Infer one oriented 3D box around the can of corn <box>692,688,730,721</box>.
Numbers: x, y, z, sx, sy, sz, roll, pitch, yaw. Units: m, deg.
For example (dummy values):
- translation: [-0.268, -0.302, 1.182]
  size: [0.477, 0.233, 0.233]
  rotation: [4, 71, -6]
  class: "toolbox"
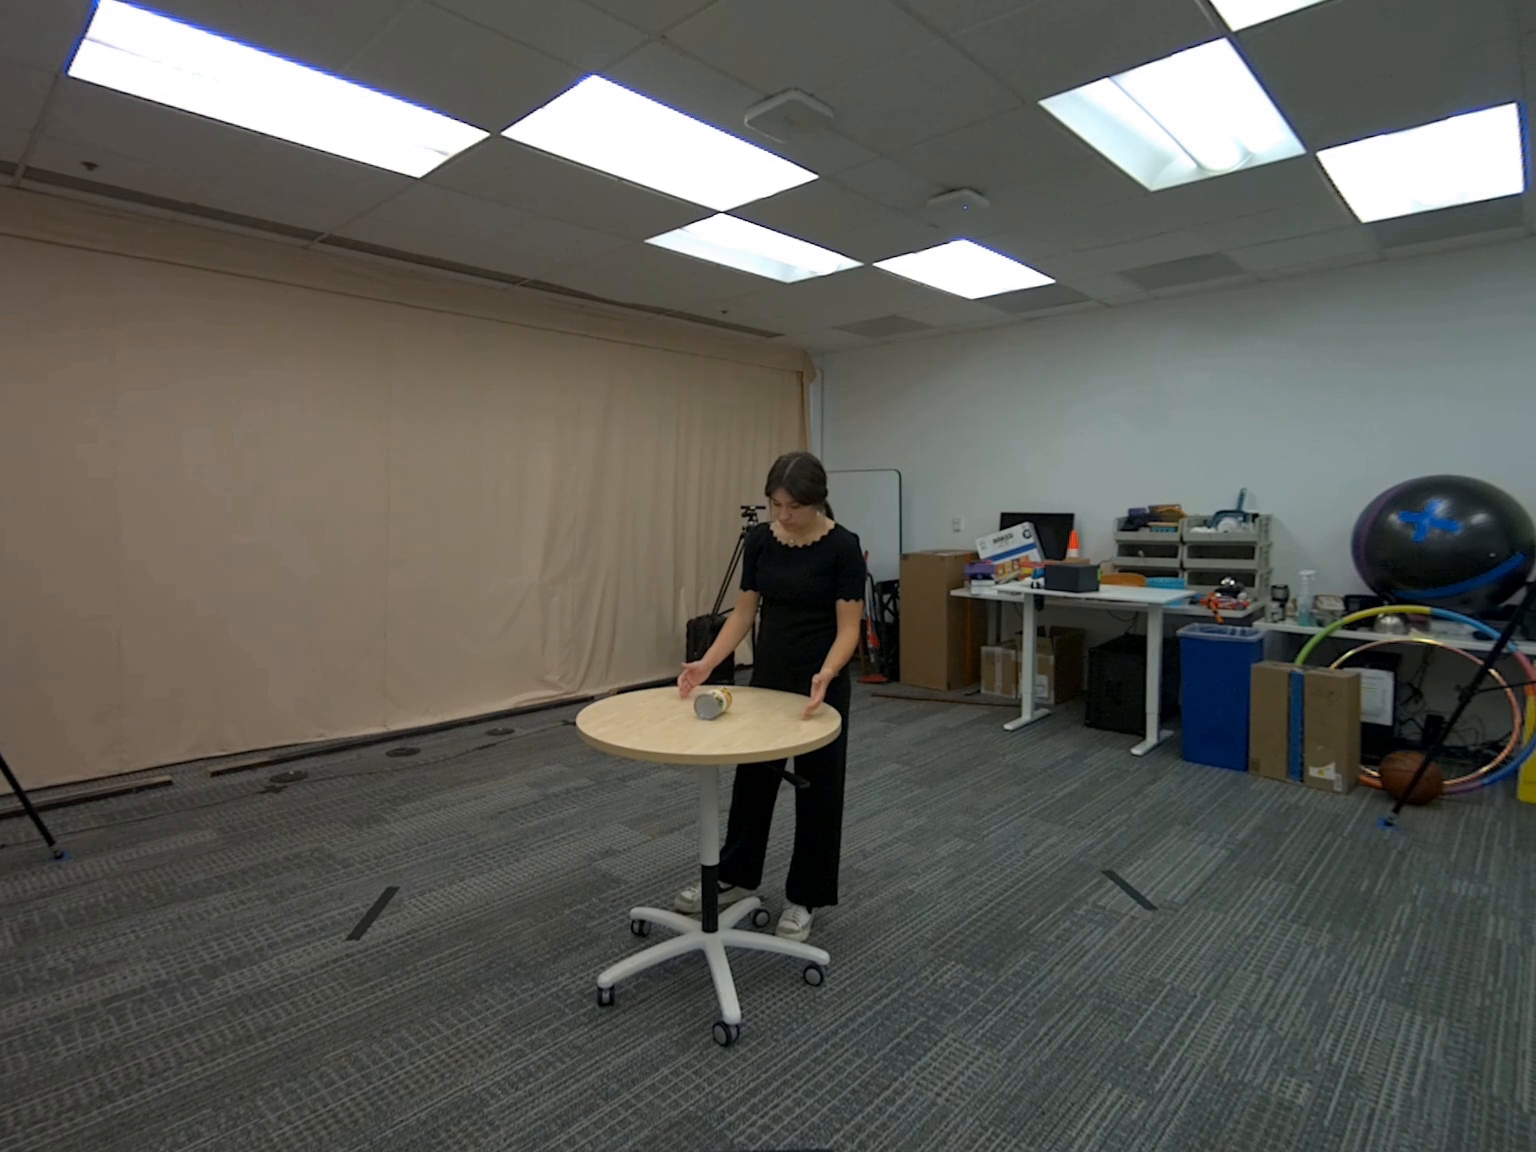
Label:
- translation: [-0.157, 0.370, 2.438]
  size: [0.076, 0.074, 0.109]
  rotation: [2, 5, 23]
  class: "can of corn"
